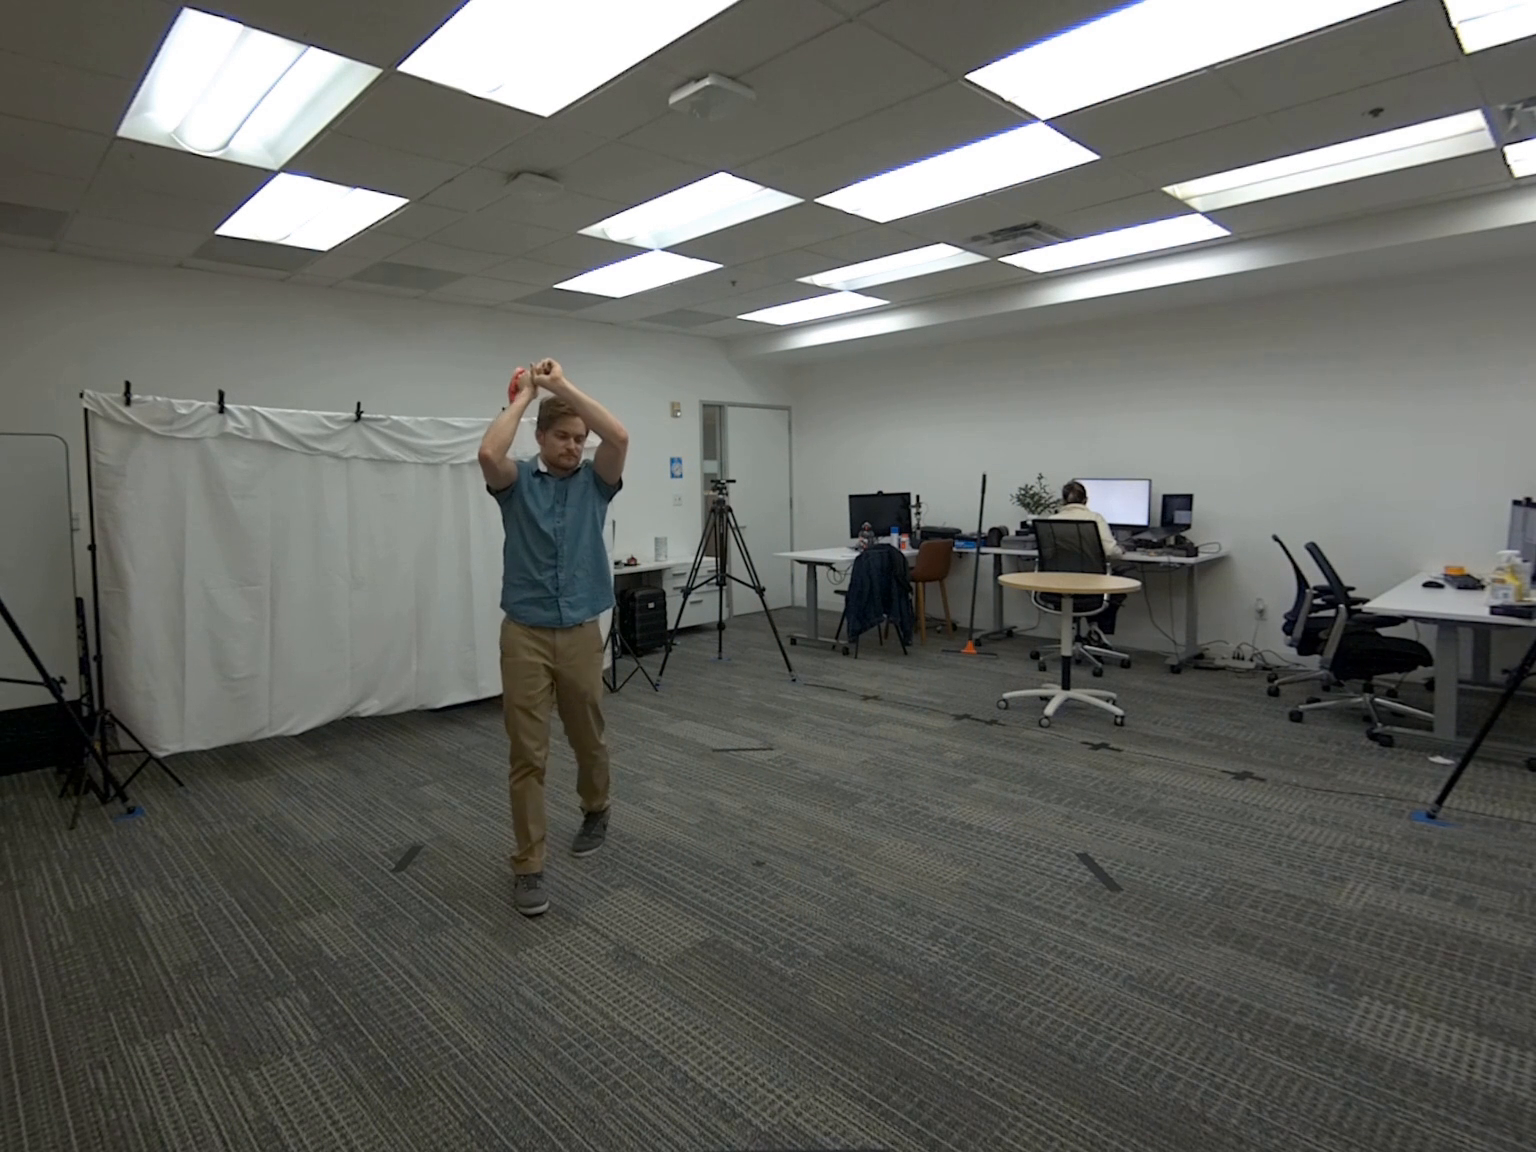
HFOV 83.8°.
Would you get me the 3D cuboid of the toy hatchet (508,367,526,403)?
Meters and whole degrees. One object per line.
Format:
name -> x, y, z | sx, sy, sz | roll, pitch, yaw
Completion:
toy hatchet -> -0.809, -0.688, 2.907 | 0.028, 0.133, 0.274 | 18, -27, -39
